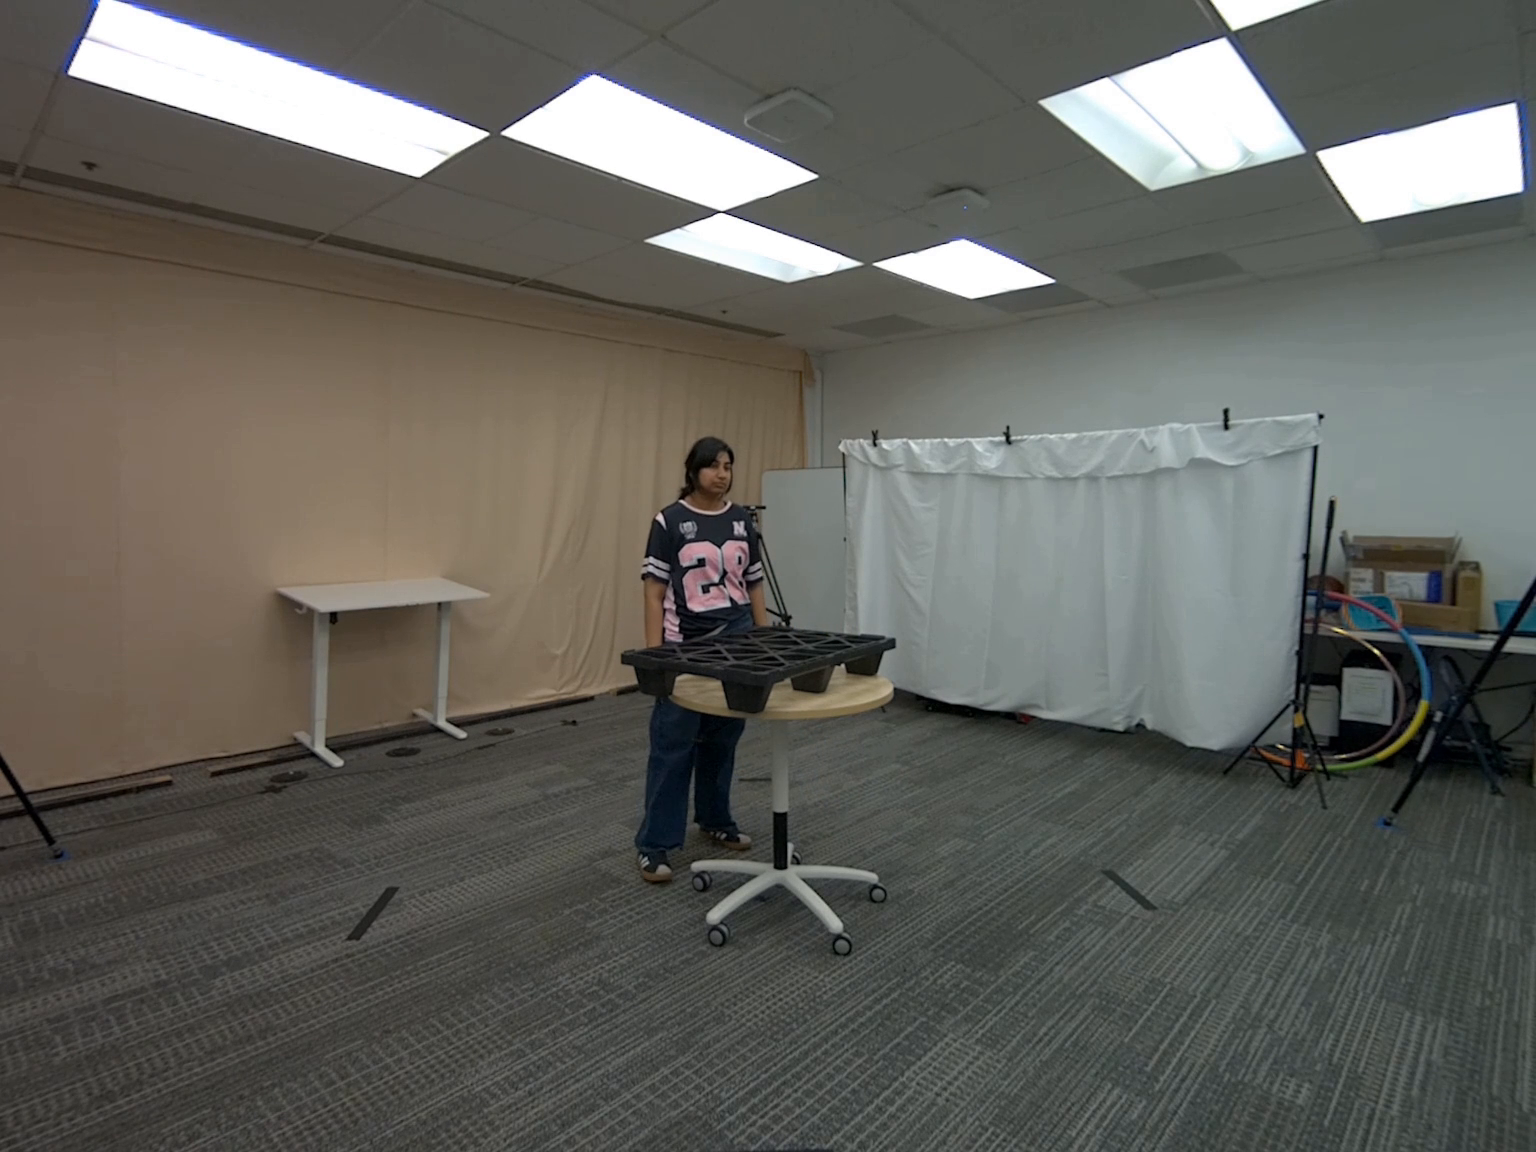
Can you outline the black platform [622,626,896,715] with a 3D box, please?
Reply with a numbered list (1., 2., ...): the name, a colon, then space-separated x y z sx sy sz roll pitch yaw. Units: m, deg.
1. black platform: -0.014 0.304 2.876 0.625 0.143 0.781 3 5 38
